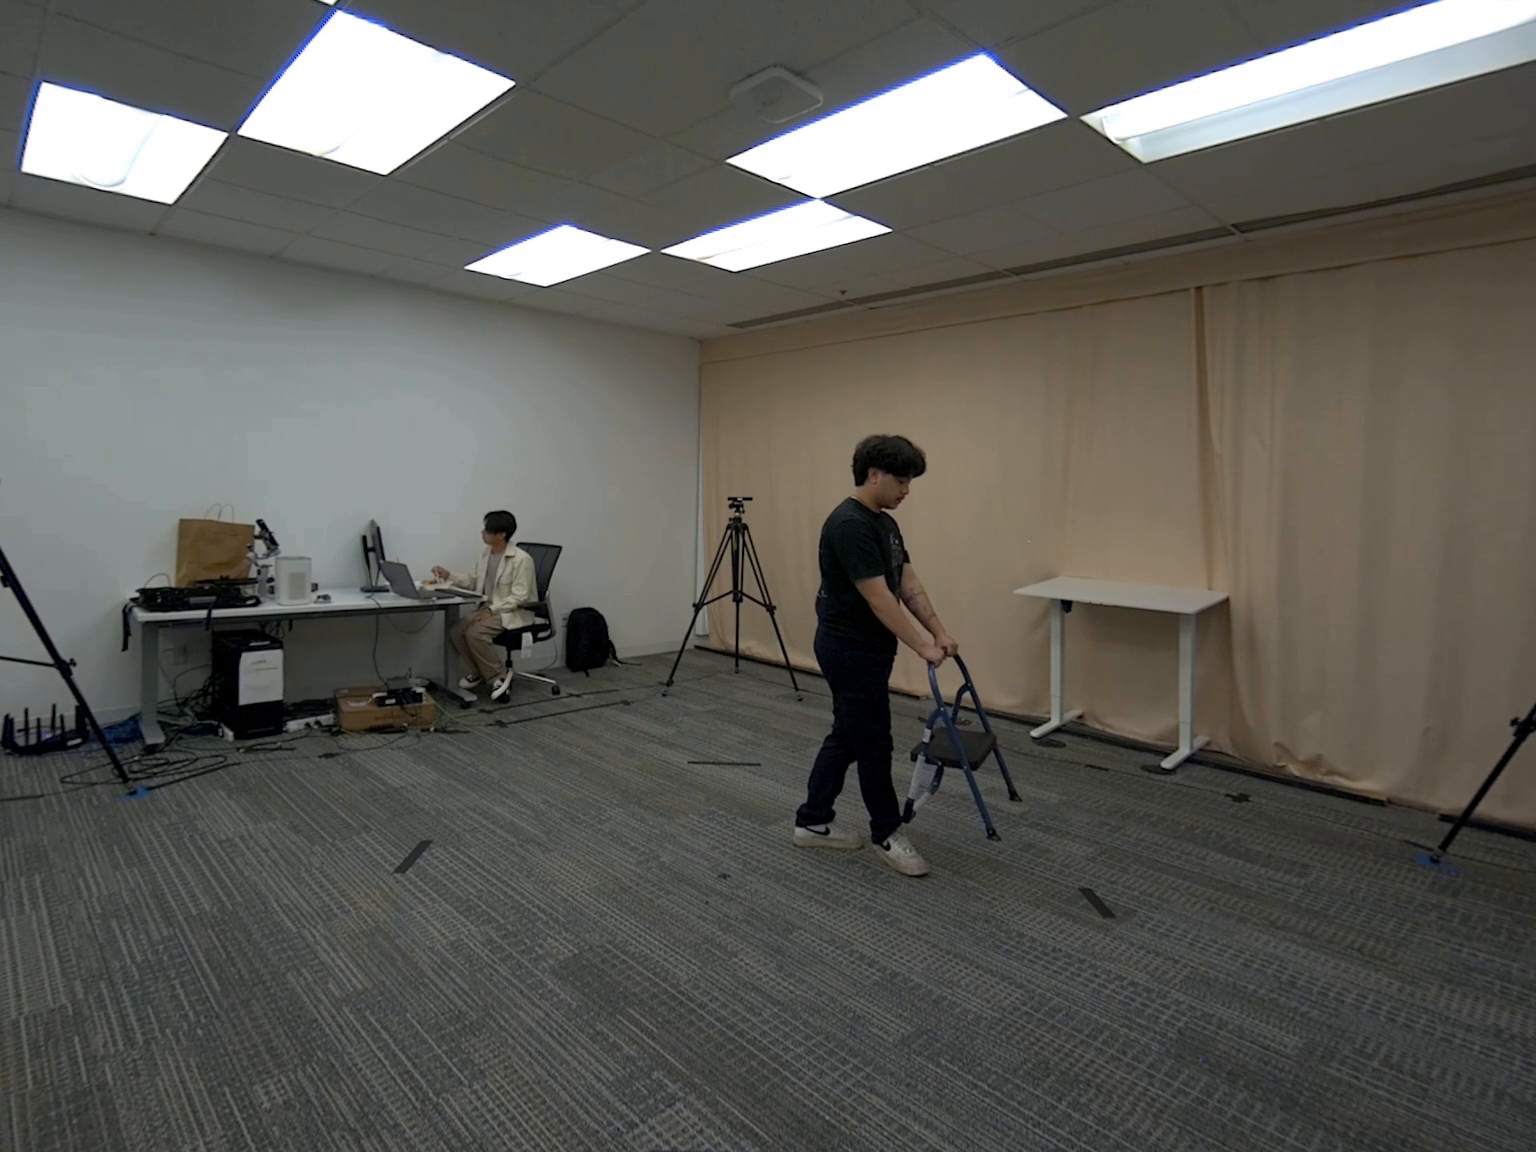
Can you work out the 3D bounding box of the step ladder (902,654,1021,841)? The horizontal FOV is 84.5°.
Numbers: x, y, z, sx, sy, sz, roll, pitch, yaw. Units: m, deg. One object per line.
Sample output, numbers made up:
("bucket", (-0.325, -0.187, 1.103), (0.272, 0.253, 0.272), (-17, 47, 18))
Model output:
("step ladder", (0.718, 0.587, 3.136), (0.356, 0.604, 0.423), (0, 5, 28))
